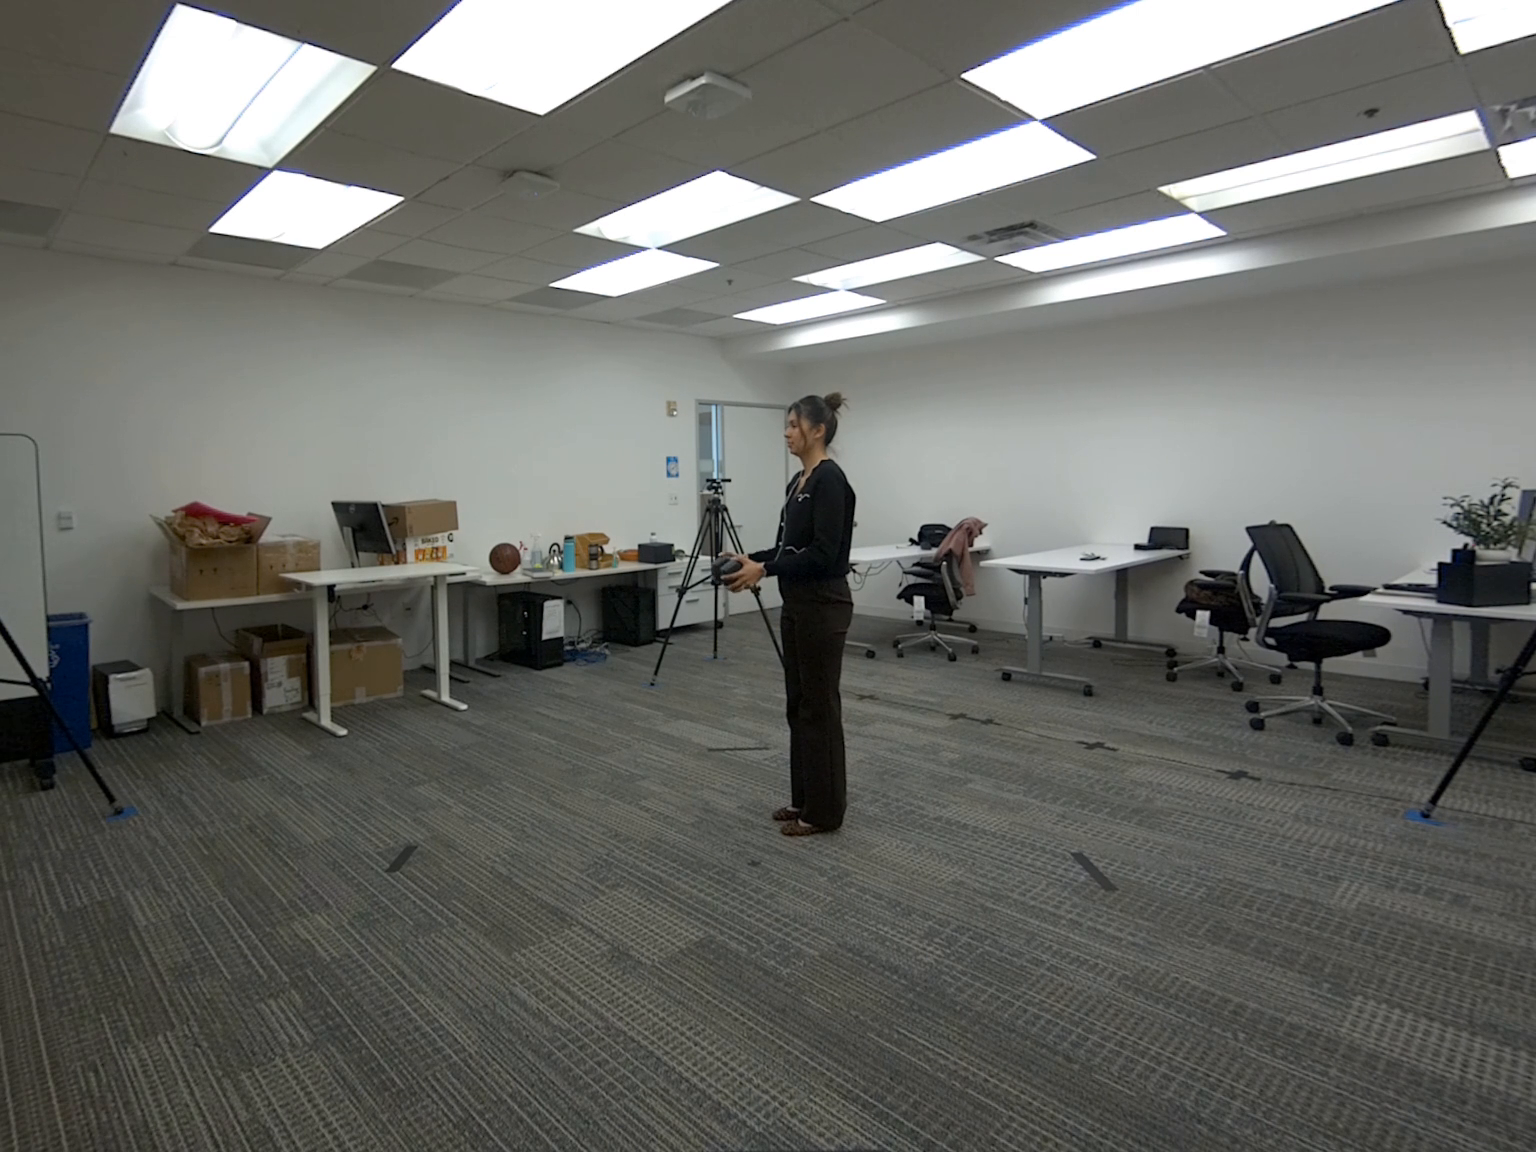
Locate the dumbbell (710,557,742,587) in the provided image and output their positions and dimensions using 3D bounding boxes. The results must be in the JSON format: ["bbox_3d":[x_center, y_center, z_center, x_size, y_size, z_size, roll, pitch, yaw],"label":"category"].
[{"bbox_3d":[-0.124,-0.020,3.371,0.123,0.107,0.297,-41,10,-3],"label":"dumbbell"}]
